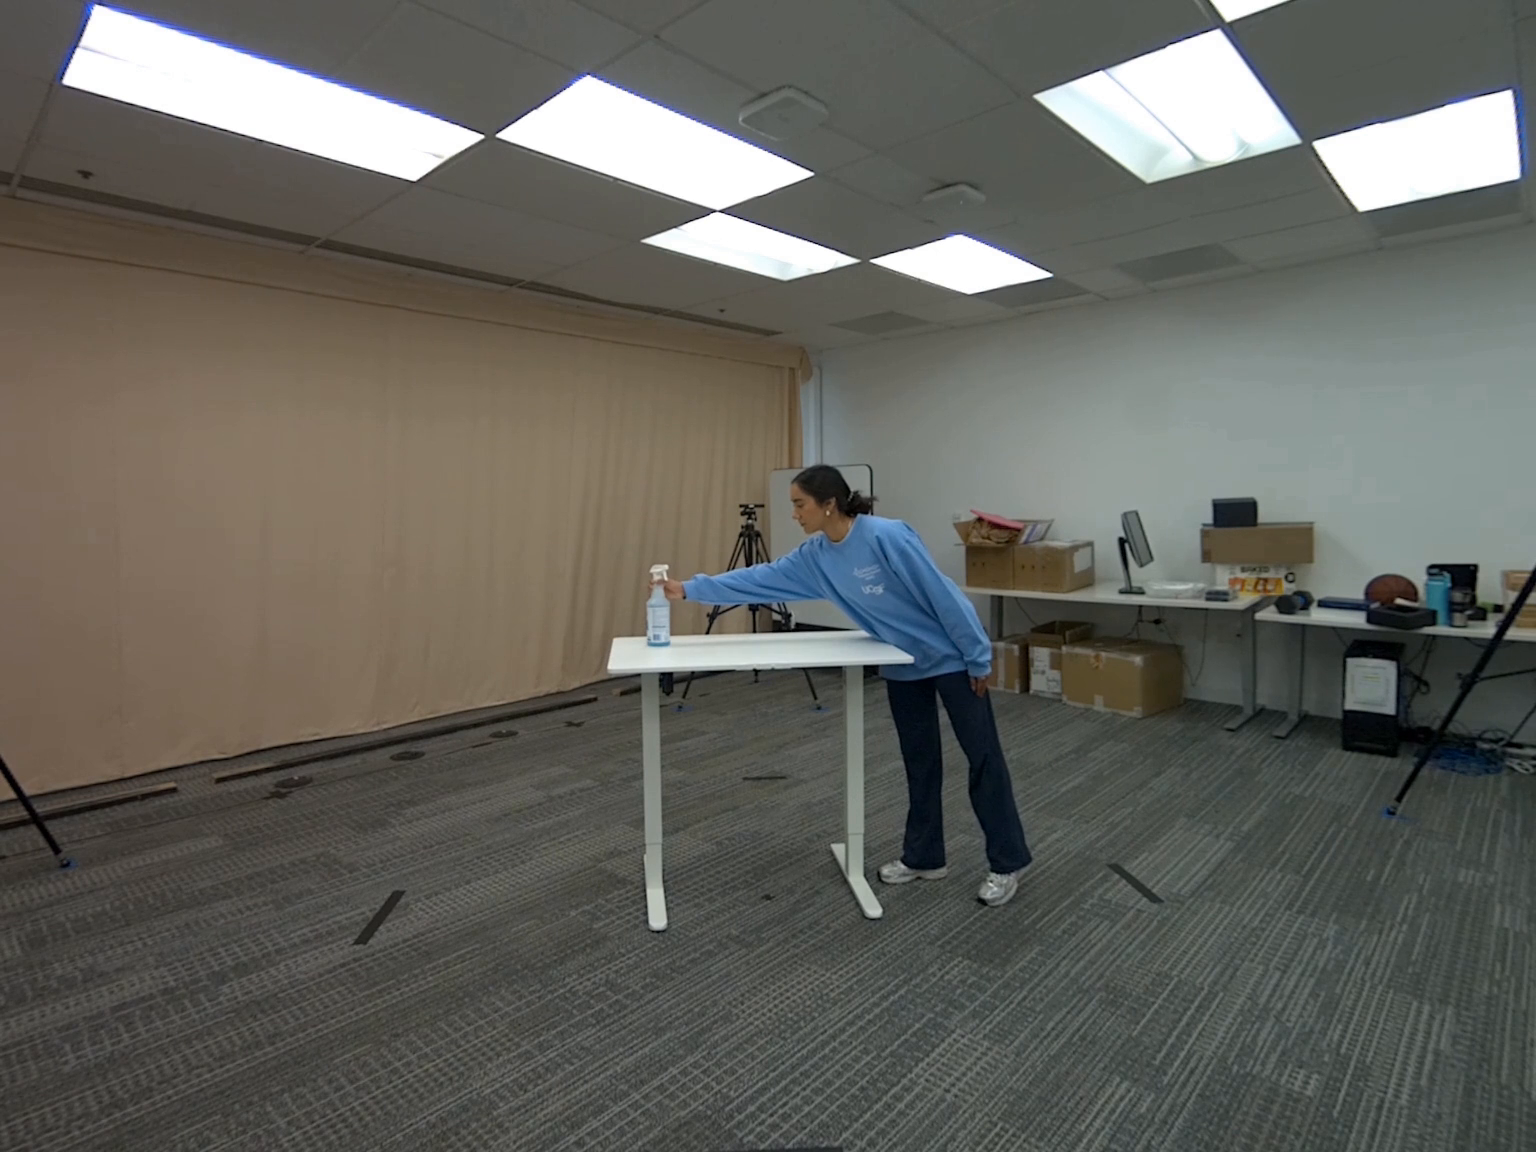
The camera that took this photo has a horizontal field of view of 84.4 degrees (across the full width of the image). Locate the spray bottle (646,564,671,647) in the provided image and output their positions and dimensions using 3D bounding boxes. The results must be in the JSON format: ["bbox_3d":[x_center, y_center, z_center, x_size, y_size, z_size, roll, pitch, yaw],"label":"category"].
[{"bbox_3d":[-0.403,0.110,3.095,0.085,0.296,0.092,-3,6,-23],"label":"spray bottle"}]
